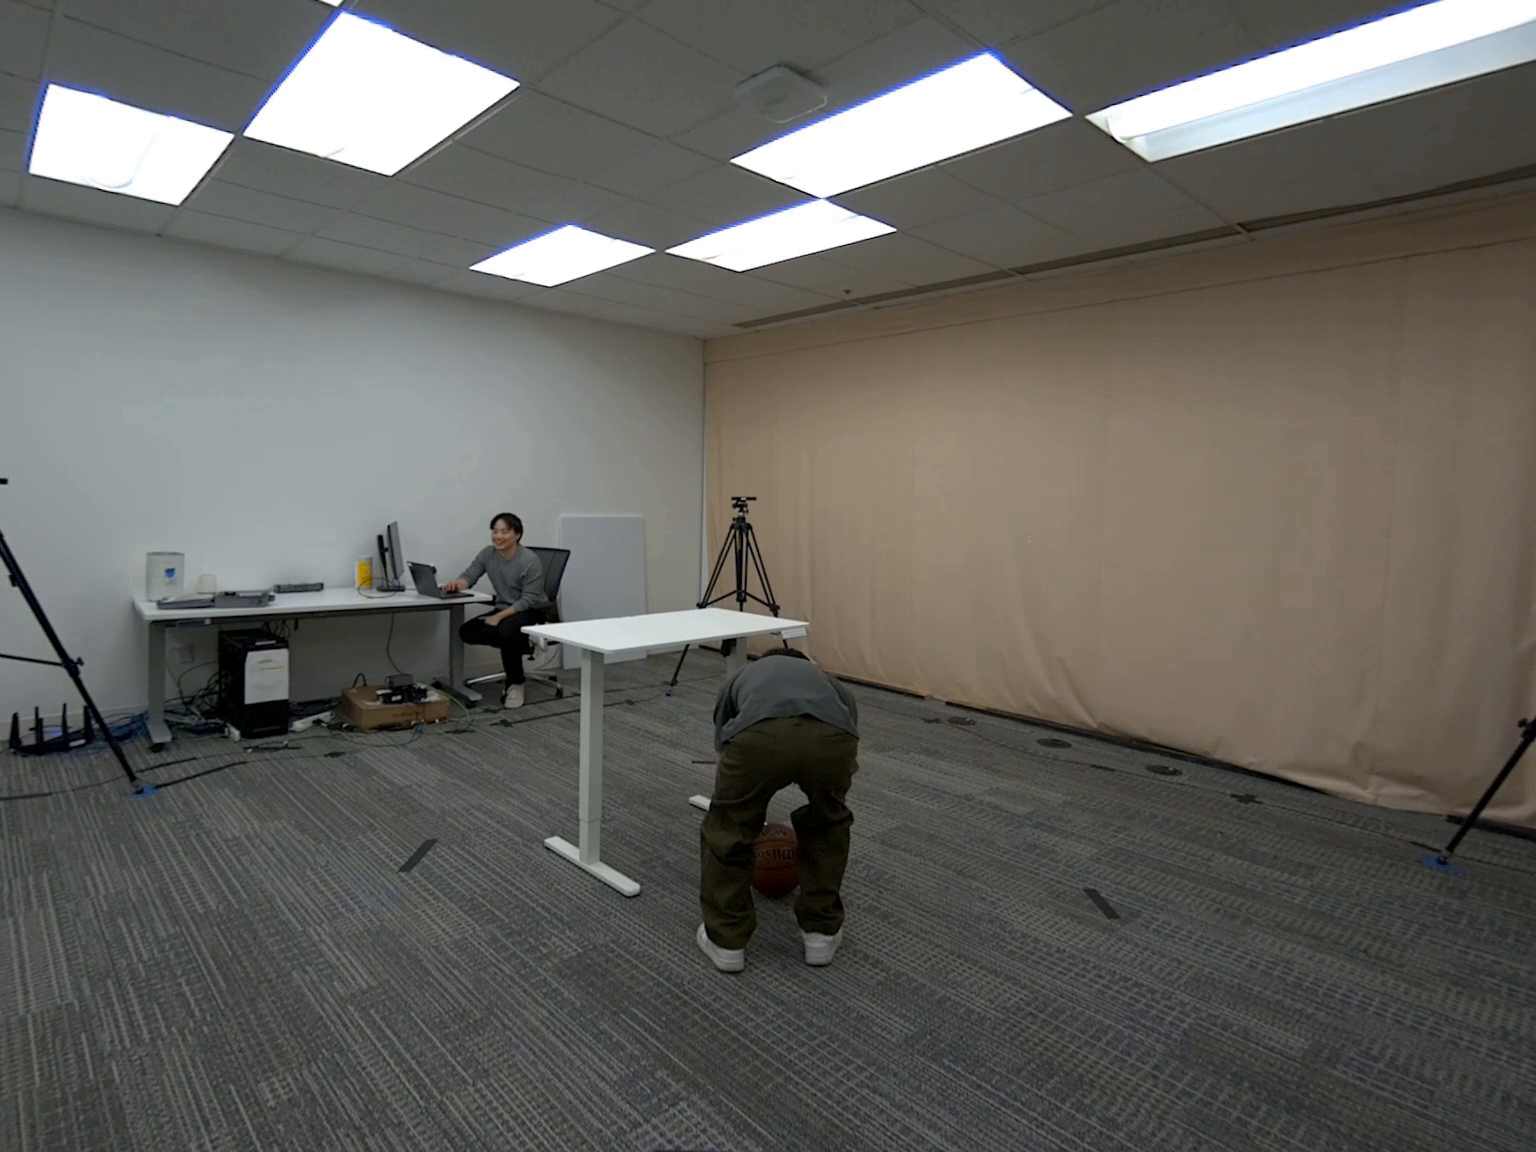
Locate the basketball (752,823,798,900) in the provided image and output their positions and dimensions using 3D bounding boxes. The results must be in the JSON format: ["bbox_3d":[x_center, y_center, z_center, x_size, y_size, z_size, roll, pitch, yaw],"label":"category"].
[{"bbox_3d":[0.012,0.993,2.966,0.236,0.235,0.237,1,4,-1],"label":"basketball"}]
